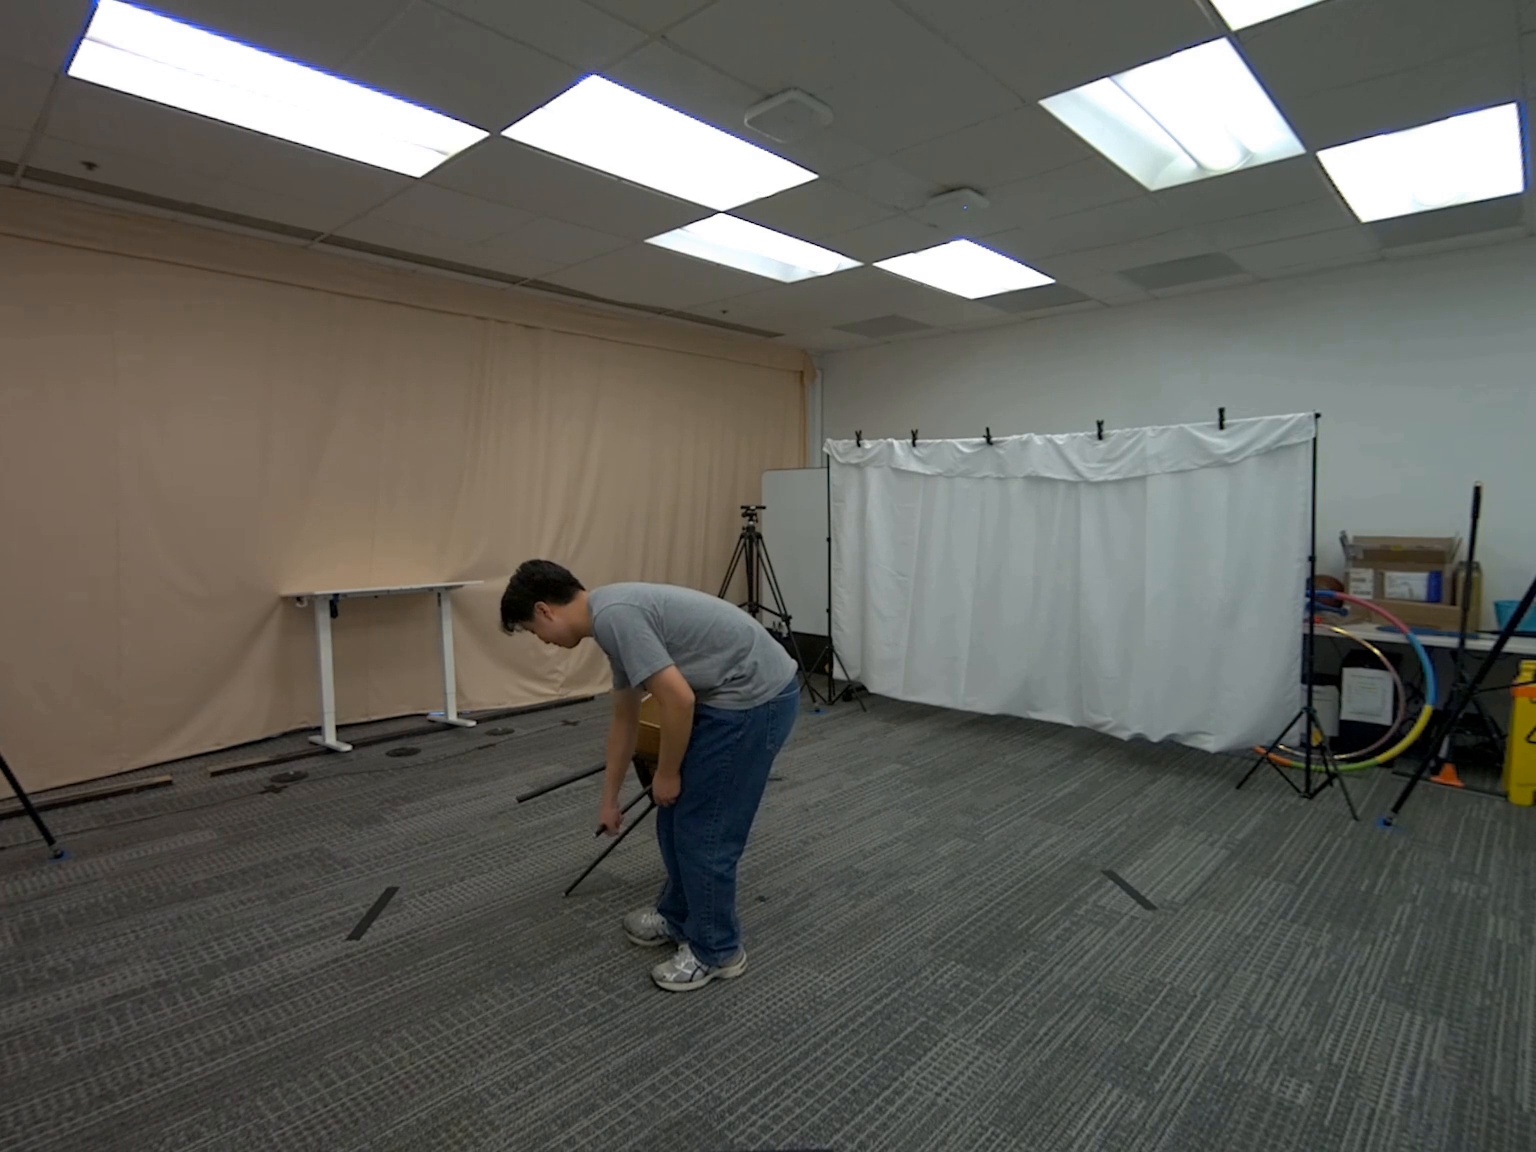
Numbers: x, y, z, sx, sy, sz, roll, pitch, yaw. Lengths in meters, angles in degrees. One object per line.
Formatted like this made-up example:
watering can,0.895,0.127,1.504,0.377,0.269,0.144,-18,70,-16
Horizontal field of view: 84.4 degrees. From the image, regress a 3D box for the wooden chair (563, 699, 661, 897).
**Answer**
wooden chair,-0.378,0.758,3.033,0.540,0.469,0.867,0,29,39
